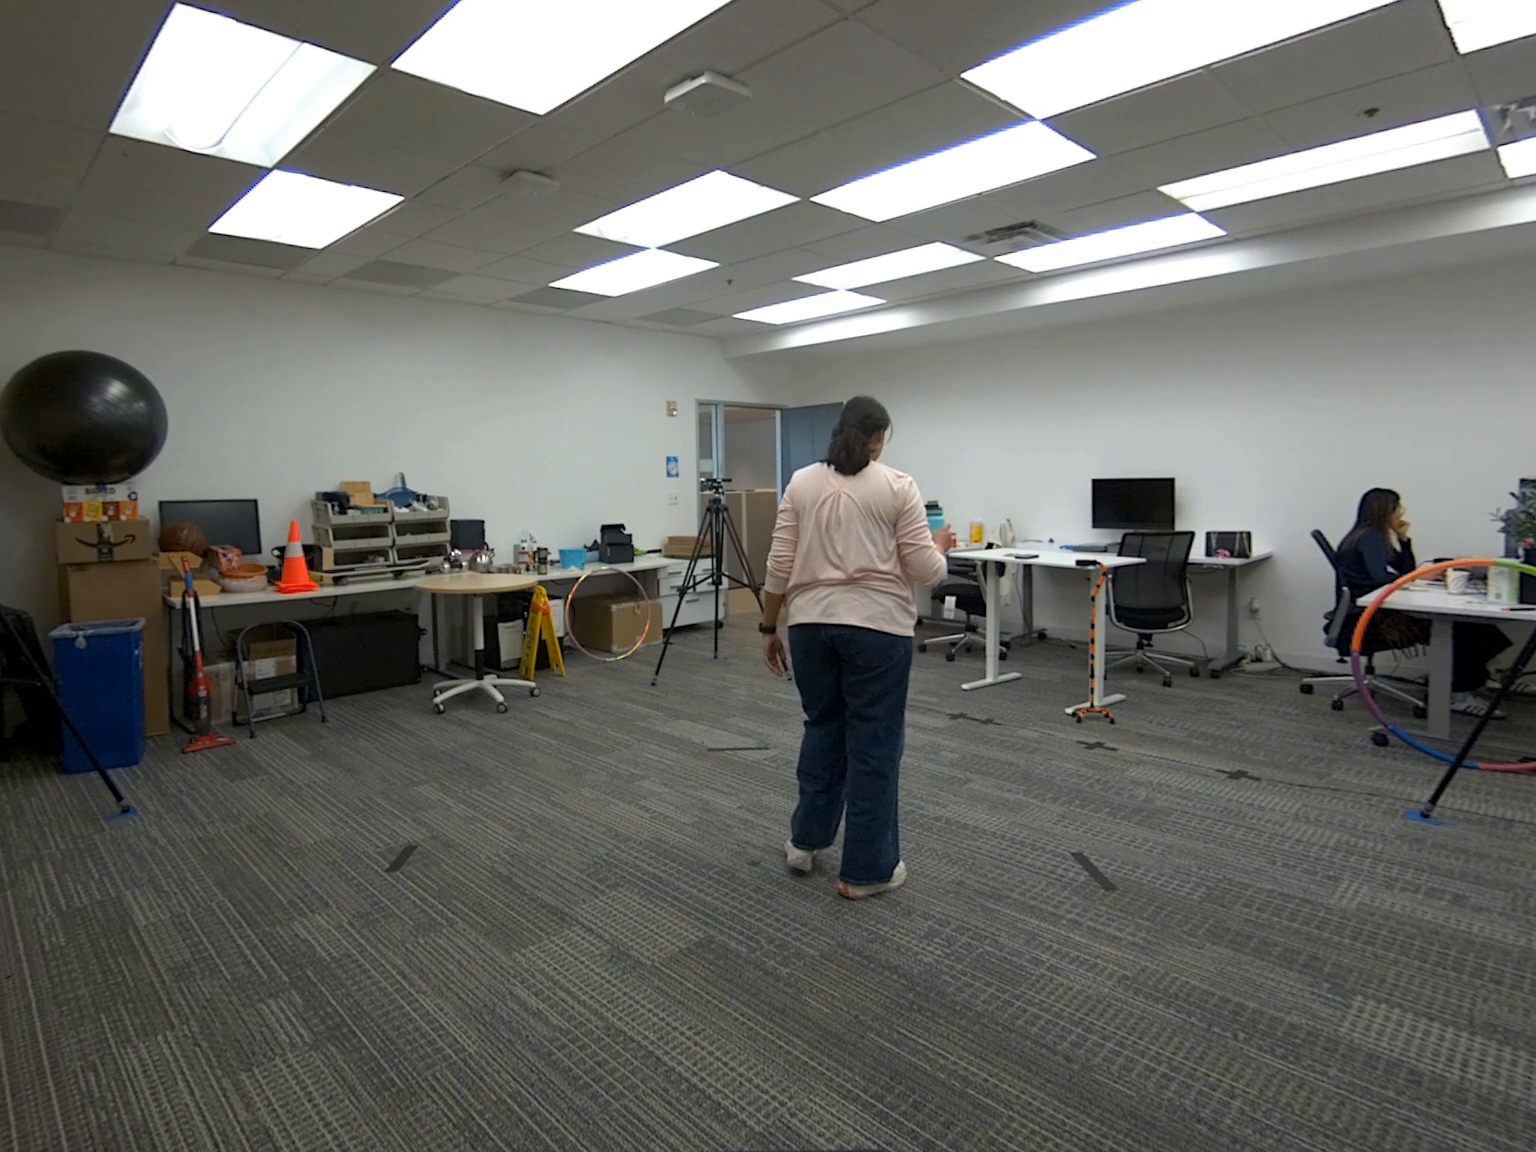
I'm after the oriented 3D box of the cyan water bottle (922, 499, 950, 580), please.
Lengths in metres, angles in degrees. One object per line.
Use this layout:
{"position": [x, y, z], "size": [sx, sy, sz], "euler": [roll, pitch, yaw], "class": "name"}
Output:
{"position": [0.586, -0.130, 3.067], "size": [0.092, 0.284, 0.092], "euler": [0, -3, -2], "class": "cyan water bottle"}
